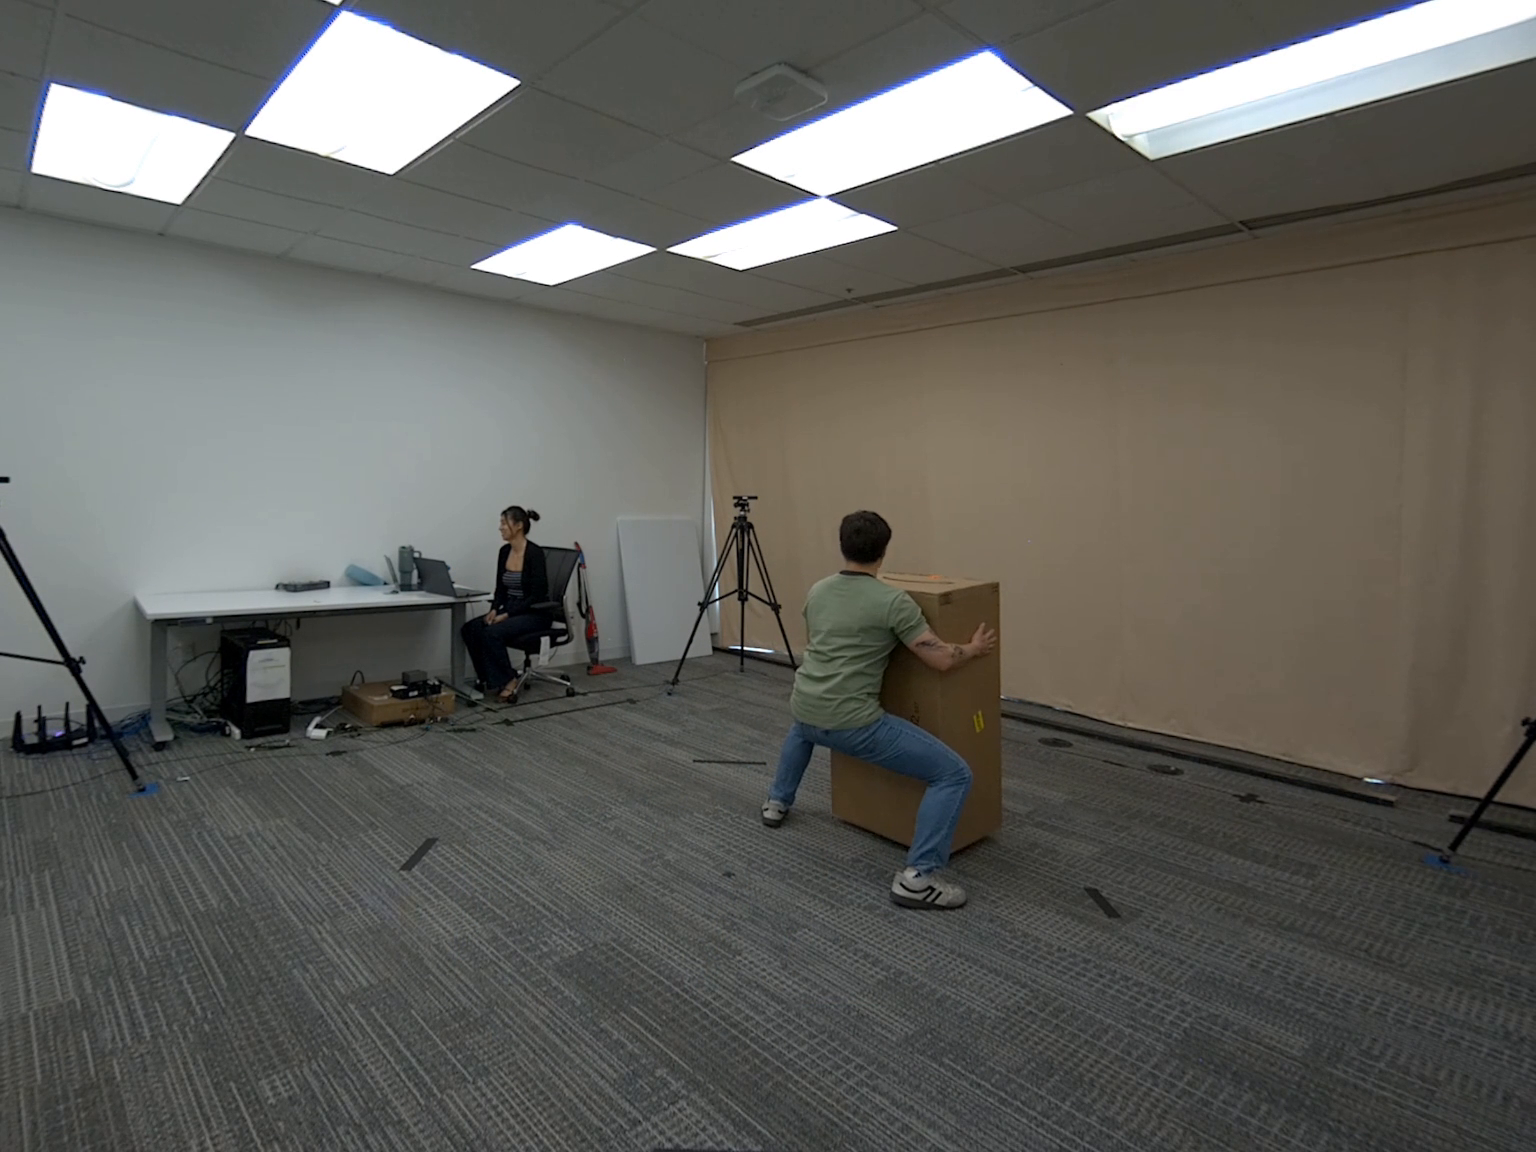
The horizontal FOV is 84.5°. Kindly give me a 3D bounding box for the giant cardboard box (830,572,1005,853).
[{"bbox_3d":[0.604,0.532,3.529,0.417,1.022,0.592,-5,6,-41],"label":"giant cardboard box"}]
